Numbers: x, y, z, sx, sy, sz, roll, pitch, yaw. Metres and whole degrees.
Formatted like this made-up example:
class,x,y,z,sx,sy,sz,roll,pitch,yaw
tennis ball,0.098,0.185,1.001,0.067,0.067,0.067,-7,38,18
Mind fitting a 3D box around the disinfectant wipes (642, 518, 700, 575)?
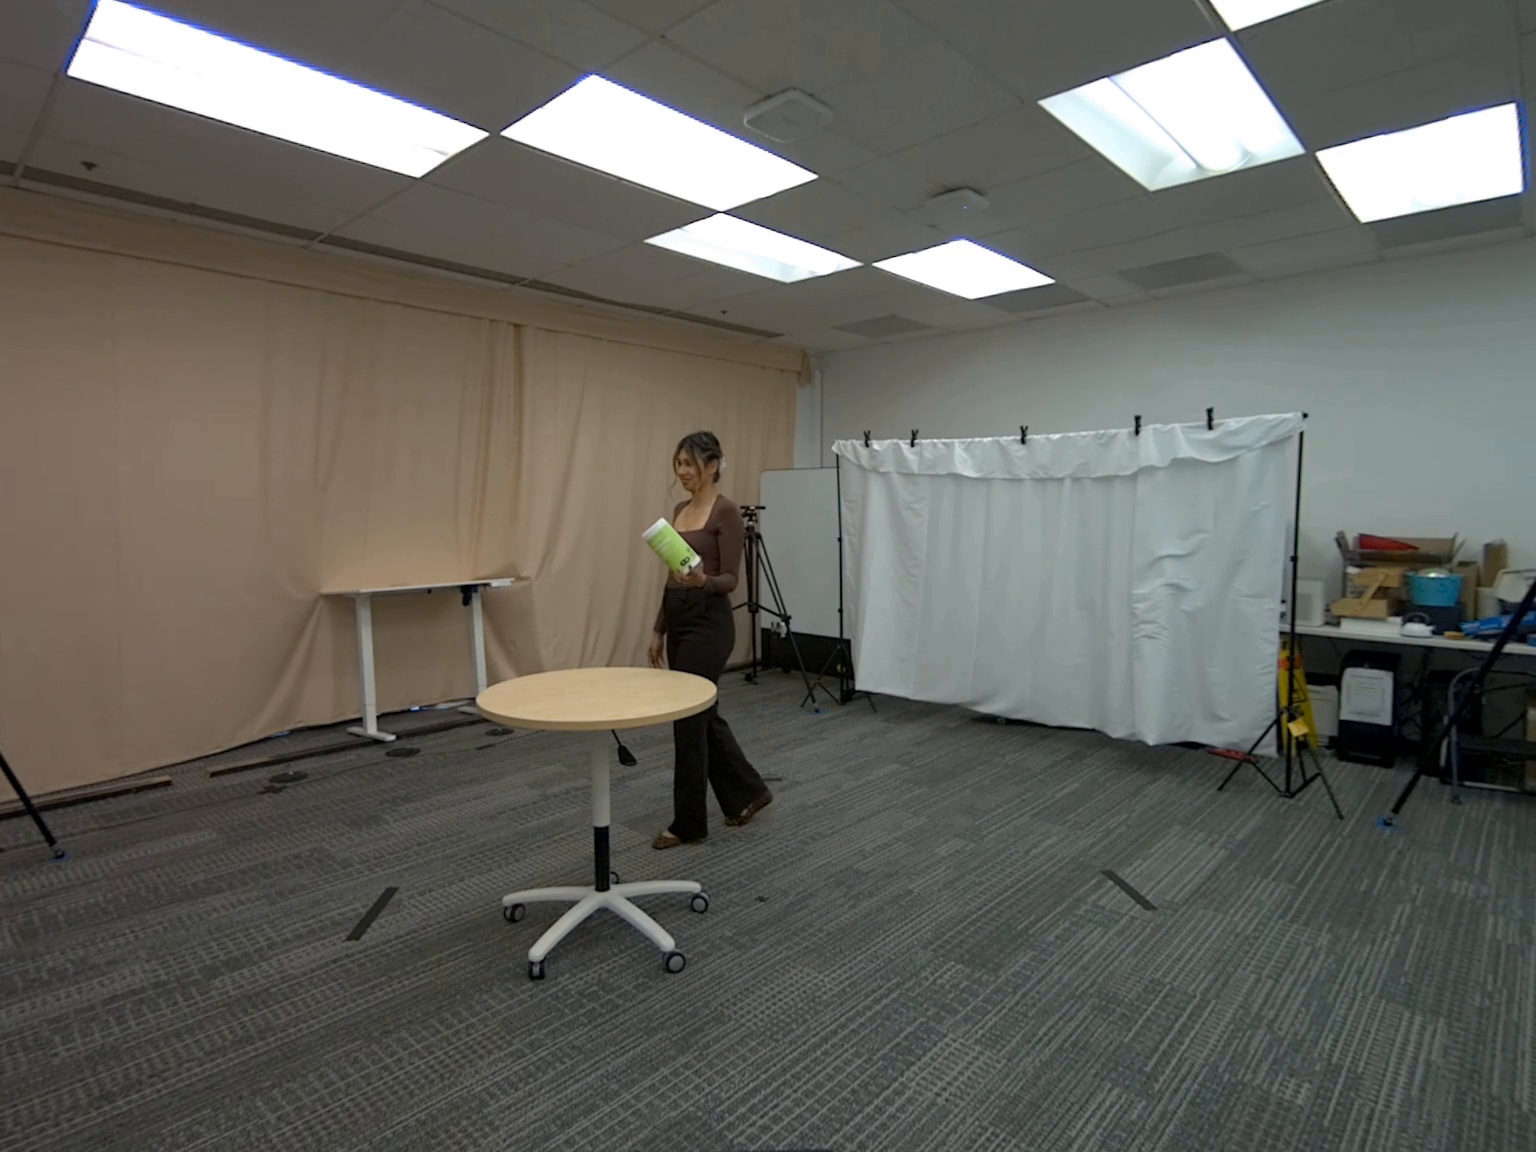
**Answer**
class,x,y,z,sx,sy,sz,roll,pitch,yaw
disinfectant wipes,-0.354,-0.102,3.115,0.118,0.216,0.118,-41,6,4
